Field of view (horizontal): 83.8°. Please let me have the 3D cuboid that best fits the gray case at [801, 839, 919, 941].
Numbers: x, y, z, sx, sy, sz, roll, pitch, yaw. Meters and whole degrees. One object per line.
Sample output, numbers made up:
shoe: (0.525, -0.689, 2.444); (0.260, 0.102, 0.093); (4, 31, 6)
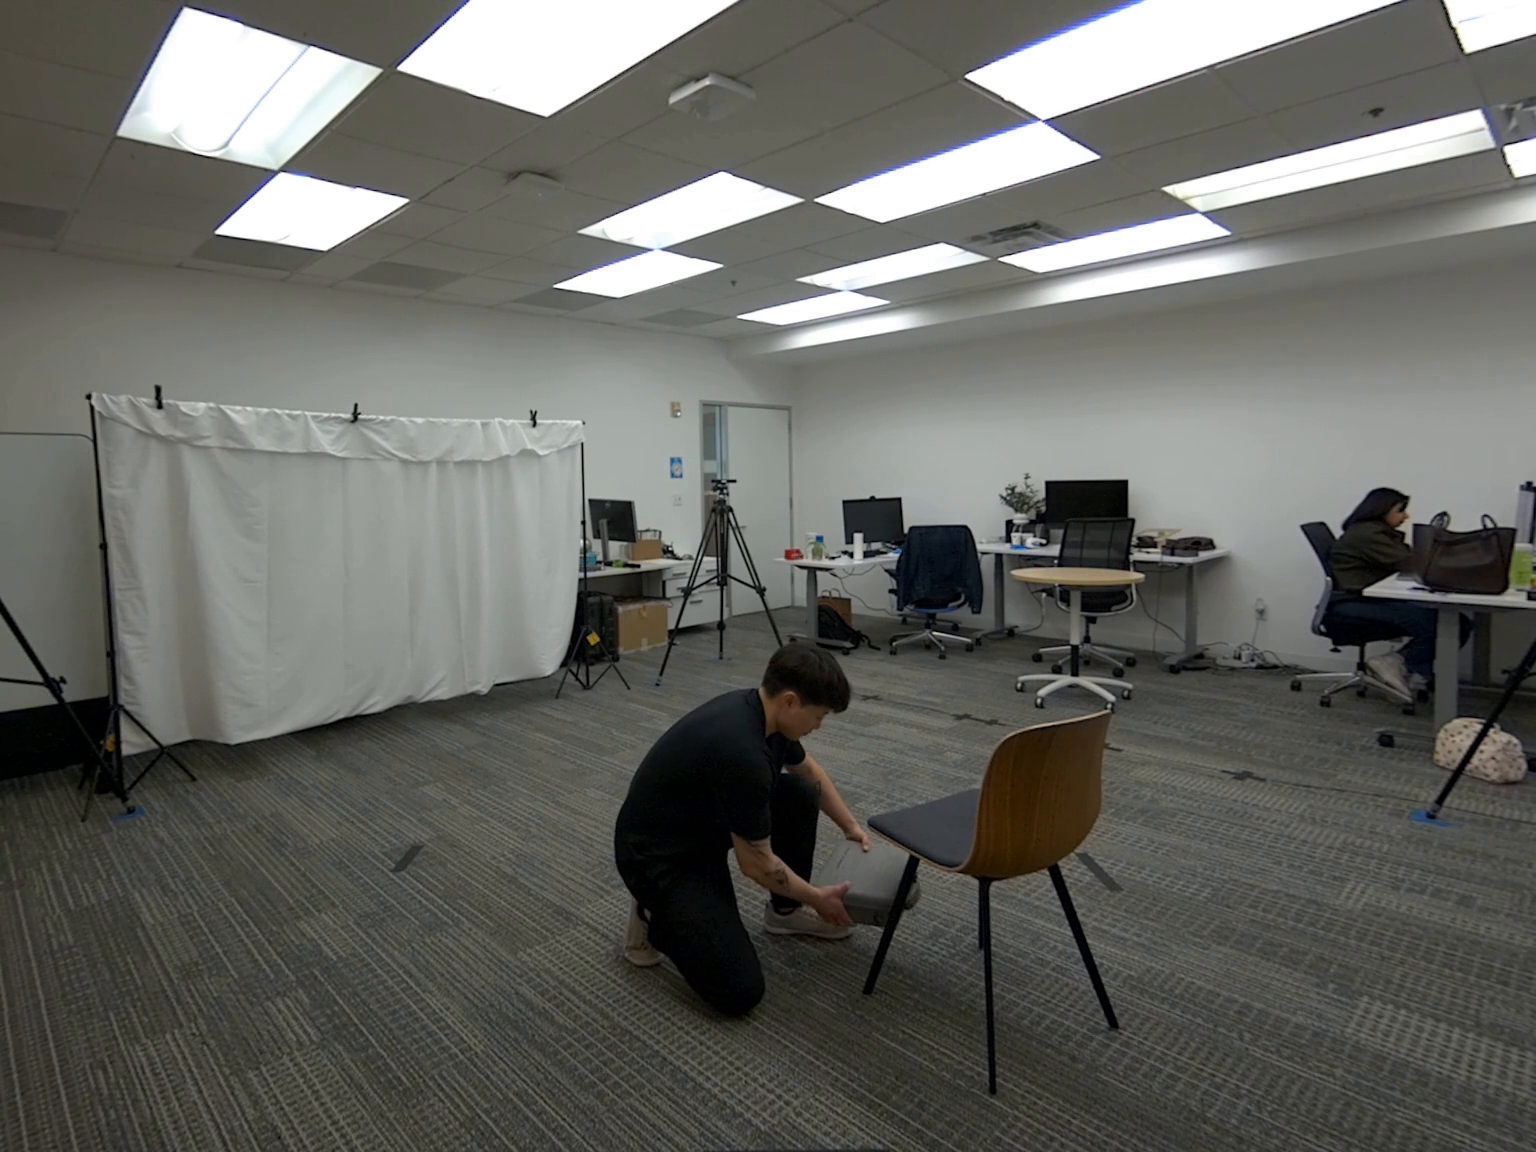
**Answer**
gray case: (0.294, 0.888, 2.462); (0.266, 0.103, 0.254); (-4, 14, 28)
